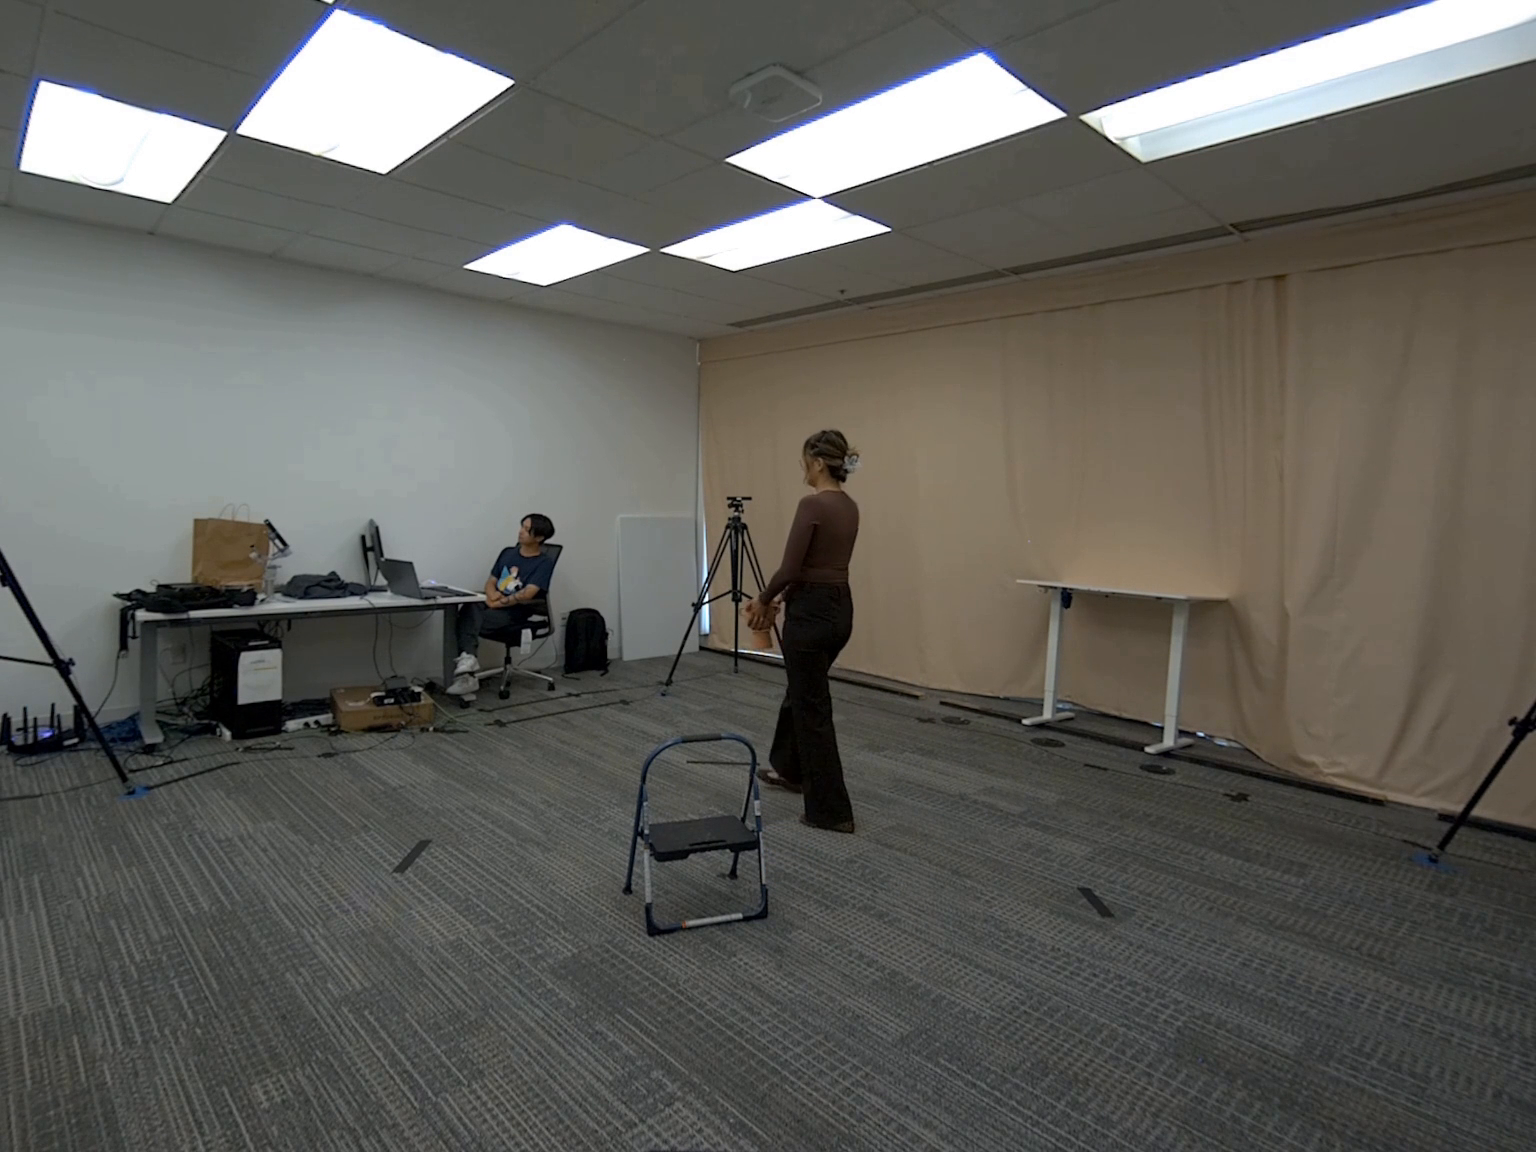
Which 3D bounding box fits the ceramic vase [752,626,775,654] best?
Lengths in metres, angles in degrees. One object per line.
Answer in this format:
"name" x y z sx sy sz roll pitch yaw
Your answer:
"ceramic vase" -0.031 0.217 3.817 0.132 0.219 0.162 -5 3 -36
